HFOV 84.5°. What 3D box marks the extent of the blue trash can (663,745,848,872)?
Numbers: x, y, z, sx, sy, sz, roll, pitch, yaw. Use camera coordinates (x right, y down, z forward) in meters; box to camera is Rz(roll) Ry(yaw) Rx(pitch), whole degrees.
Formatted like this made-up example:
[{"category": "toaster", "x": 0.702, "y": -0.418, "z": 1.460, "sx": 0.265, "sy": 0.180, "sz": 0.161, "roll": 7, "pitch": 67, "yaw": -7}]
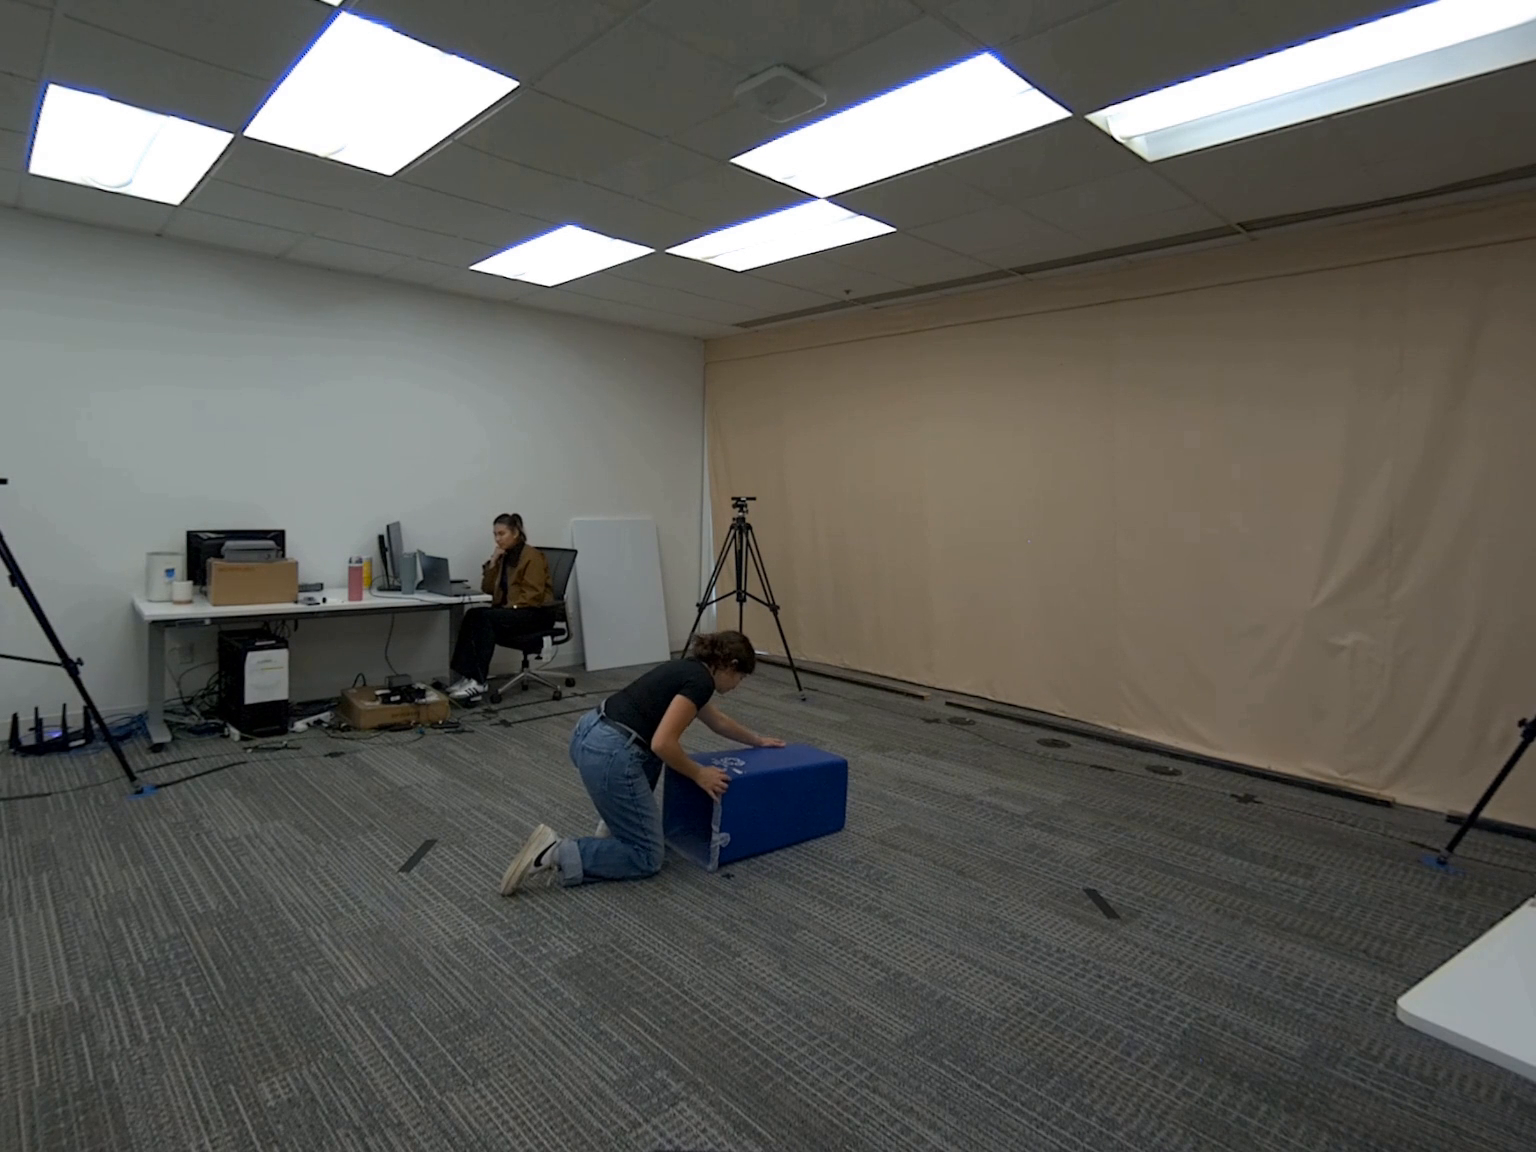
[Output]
[{"category": "blue trash can", "x": -0.046, "y": 0.915, "z": 3.470, "sx": 0.696, "sy": 0.378, "sz": 0.383, "roll": 1, "pitch": 2, "yaw": -39}]
